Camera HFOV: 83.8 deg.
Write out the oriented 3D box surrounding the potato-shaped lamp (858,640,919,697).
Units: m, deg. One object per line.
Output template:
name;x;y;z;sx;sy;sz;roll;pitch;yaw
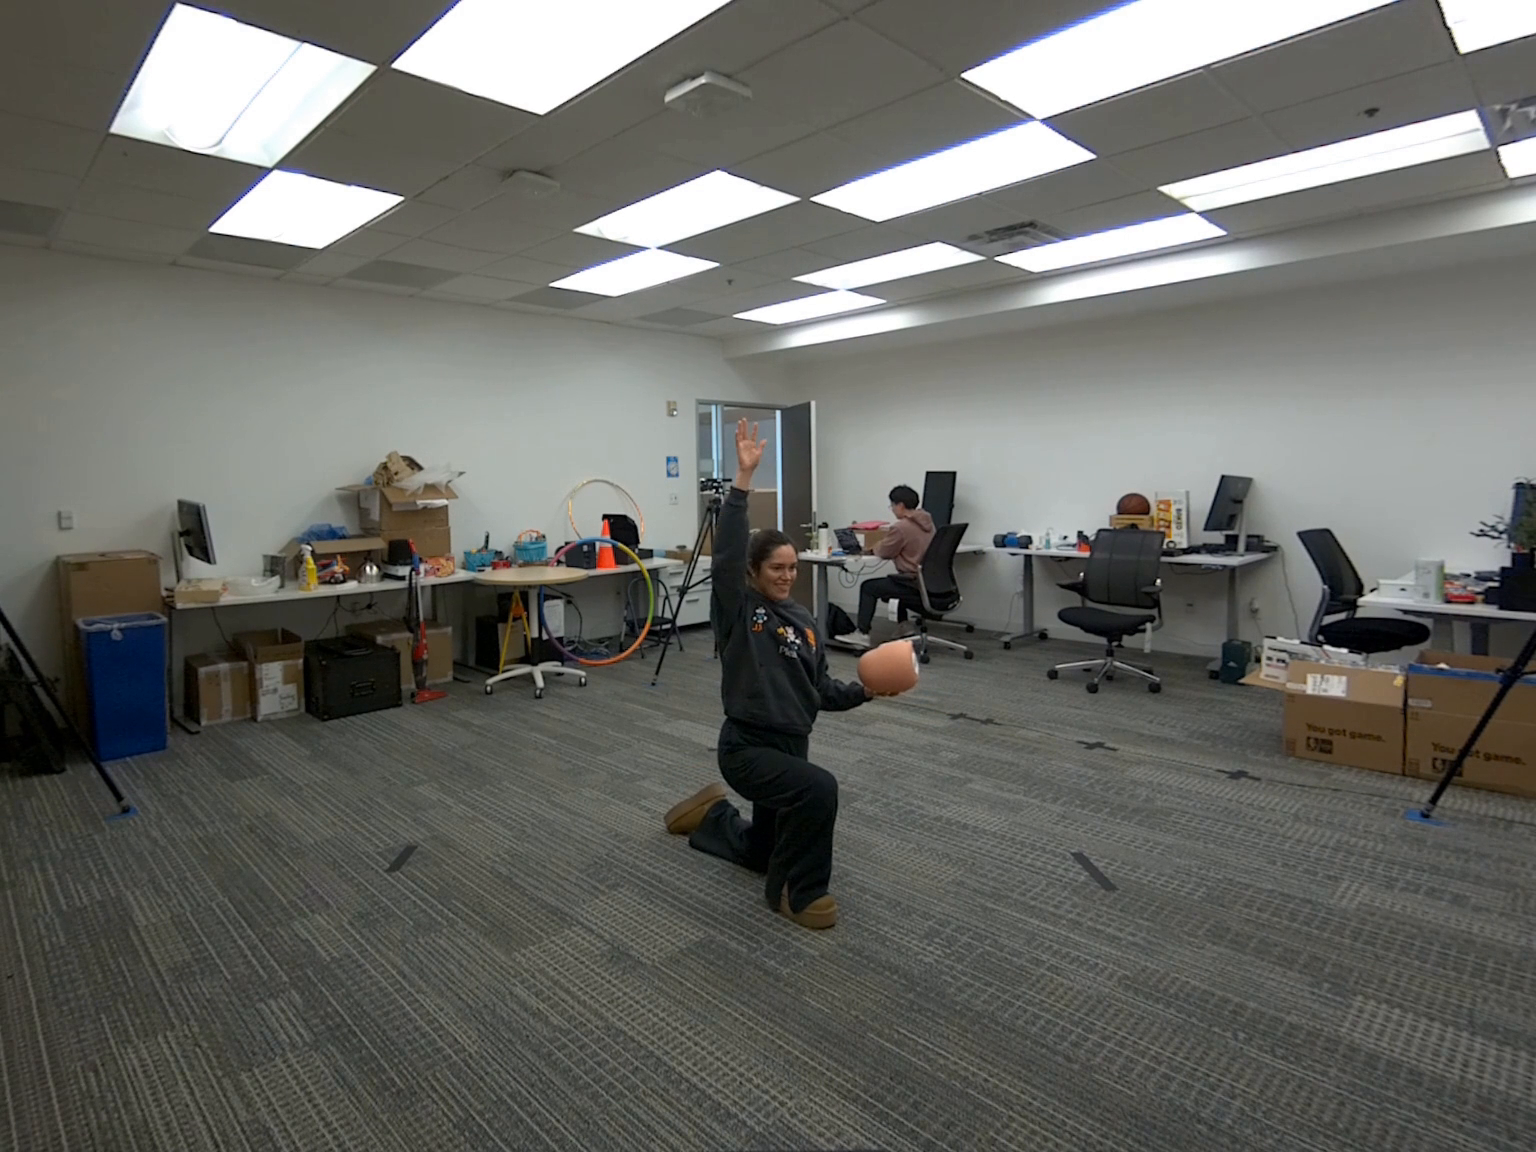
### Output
potato-shaped lamp;0.398;0.312;2.877;0.201;0.160;0.173;-9;26;20
